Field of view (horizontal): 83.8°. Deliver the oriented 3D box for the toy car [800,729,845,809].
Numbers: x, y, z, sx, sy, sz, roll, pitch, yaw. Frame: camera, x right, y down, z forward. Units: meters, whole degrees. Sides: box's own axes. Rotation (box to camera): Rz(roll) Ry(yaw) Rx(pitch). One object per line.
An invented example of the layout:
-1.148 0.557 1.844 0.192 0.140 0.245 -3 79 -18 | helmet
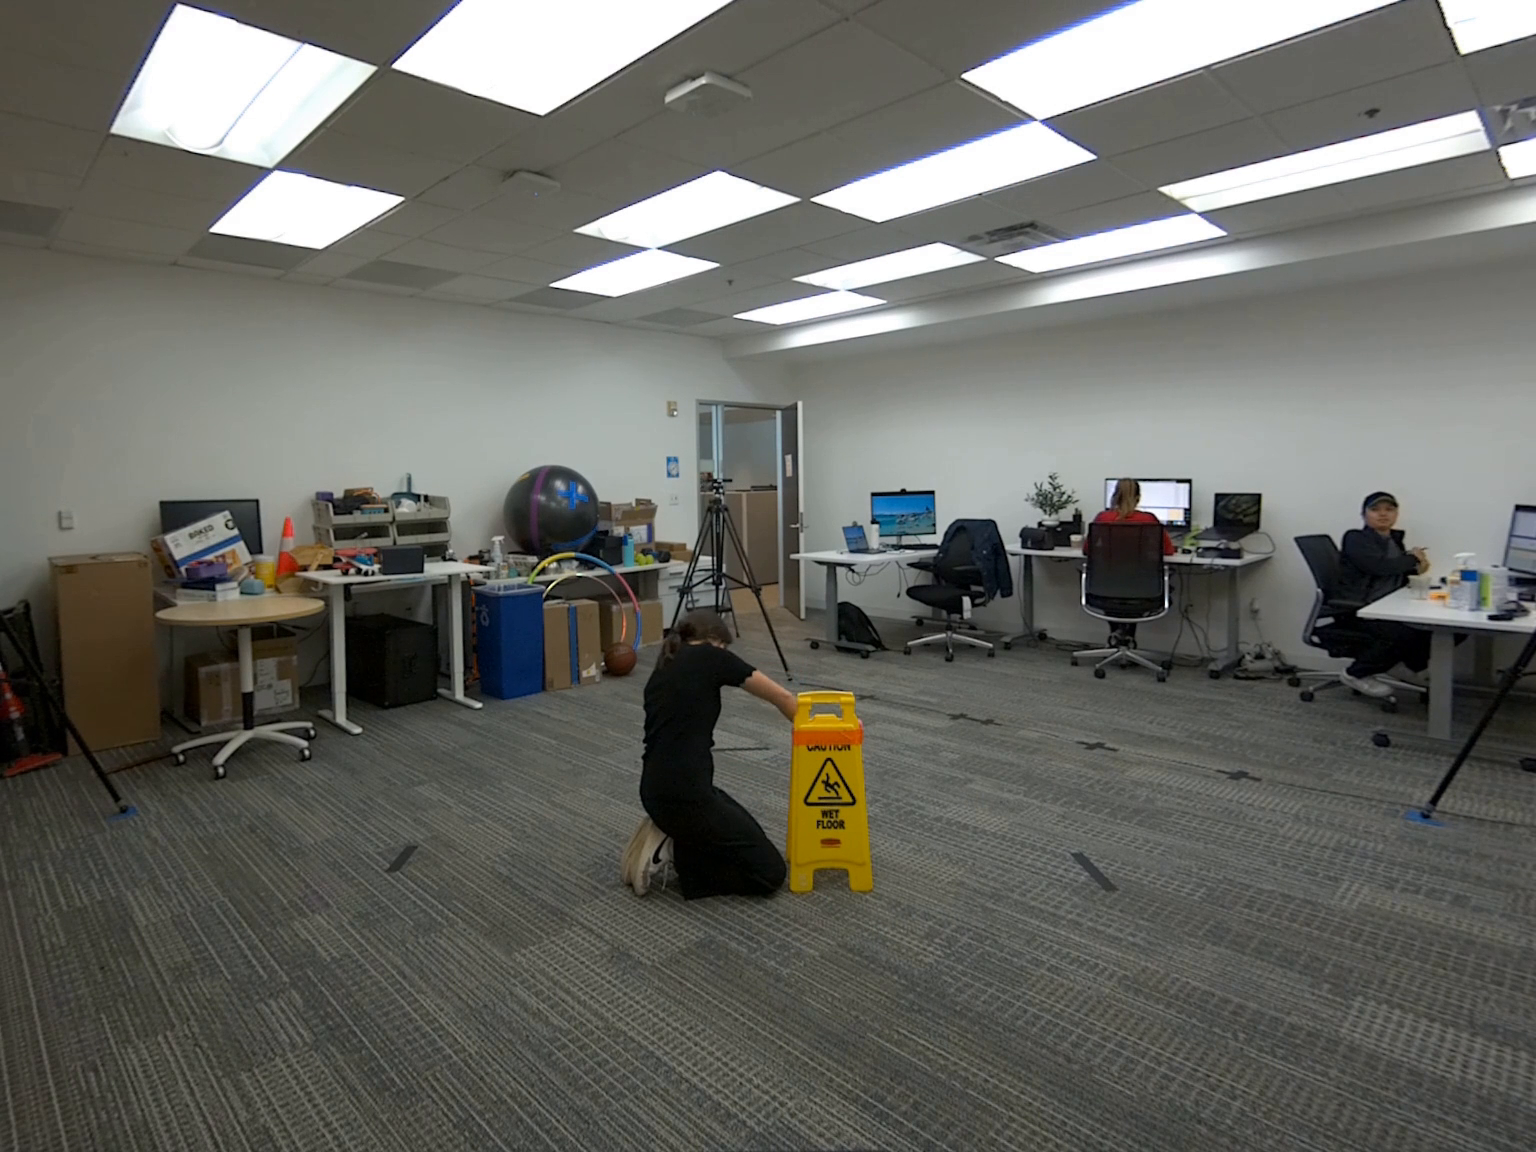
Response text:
0.193 0.689 3.076 0.130 0.253 0.084 3 6 -1 | toy car
